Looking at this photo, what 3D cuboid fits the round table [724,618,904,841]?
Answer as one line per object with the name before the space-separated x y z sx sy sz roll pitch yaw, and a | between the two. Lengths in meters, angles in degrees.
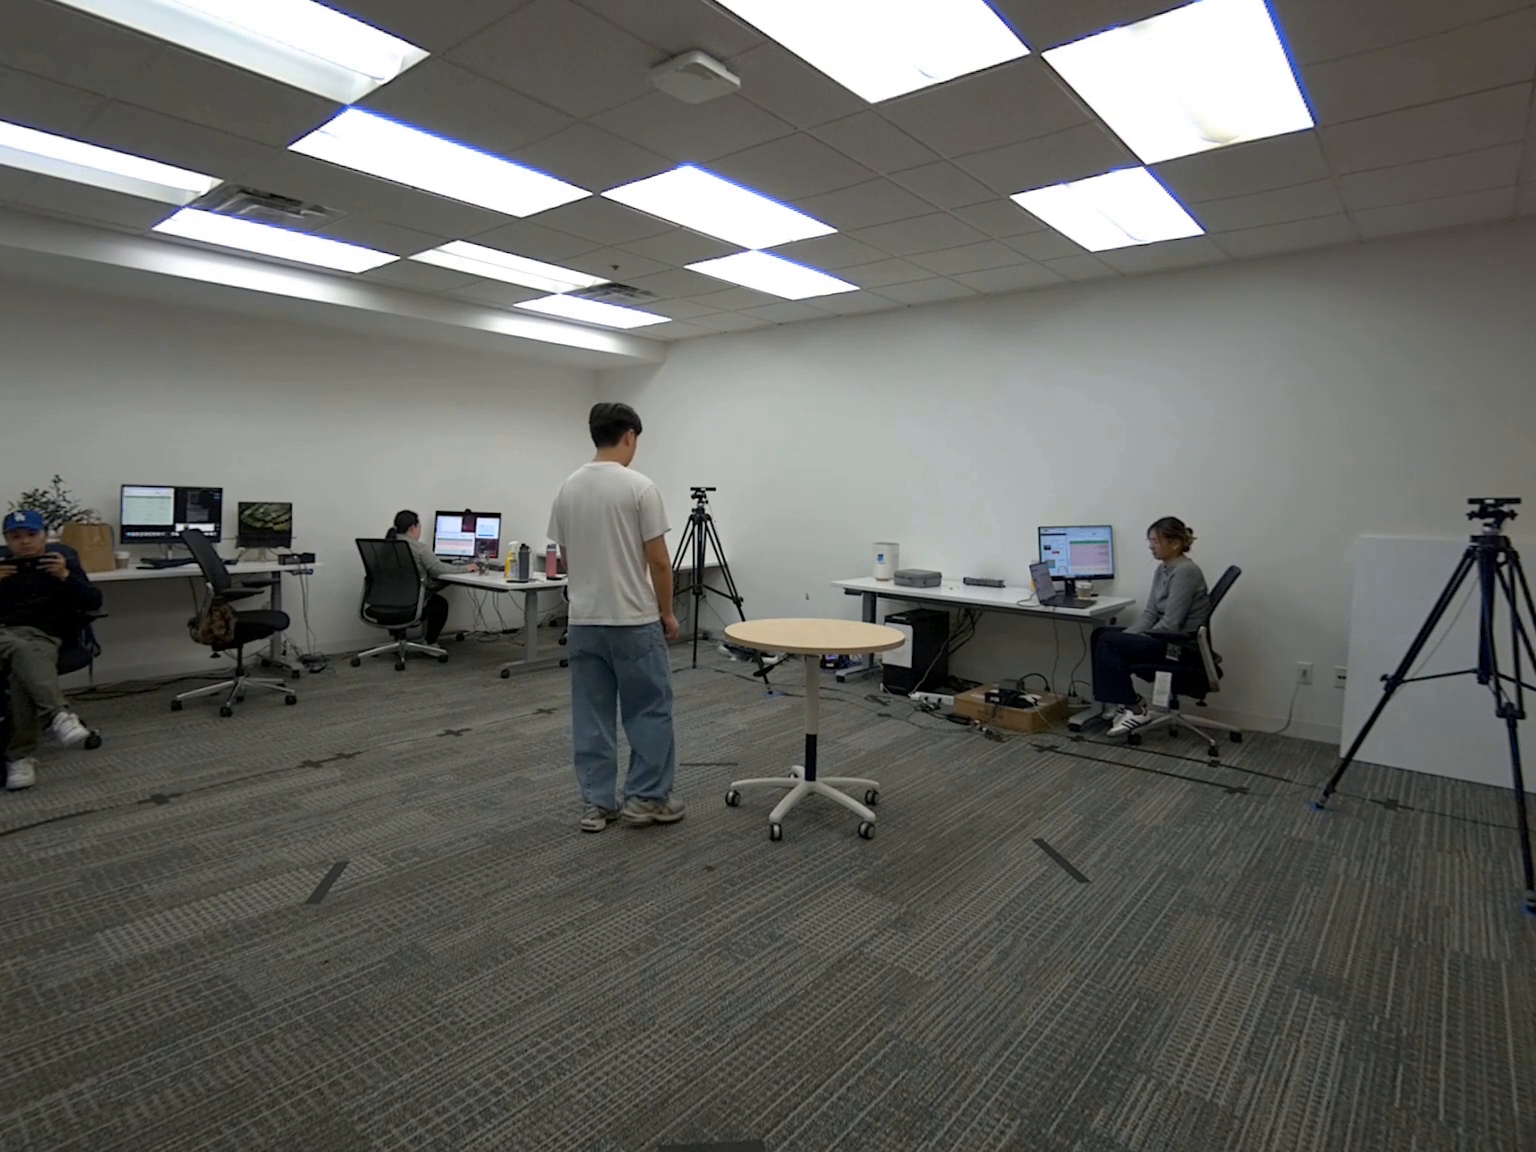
round table | 0.174 0.634 3.667 0.763 0.791 0.768 1 4 -2
